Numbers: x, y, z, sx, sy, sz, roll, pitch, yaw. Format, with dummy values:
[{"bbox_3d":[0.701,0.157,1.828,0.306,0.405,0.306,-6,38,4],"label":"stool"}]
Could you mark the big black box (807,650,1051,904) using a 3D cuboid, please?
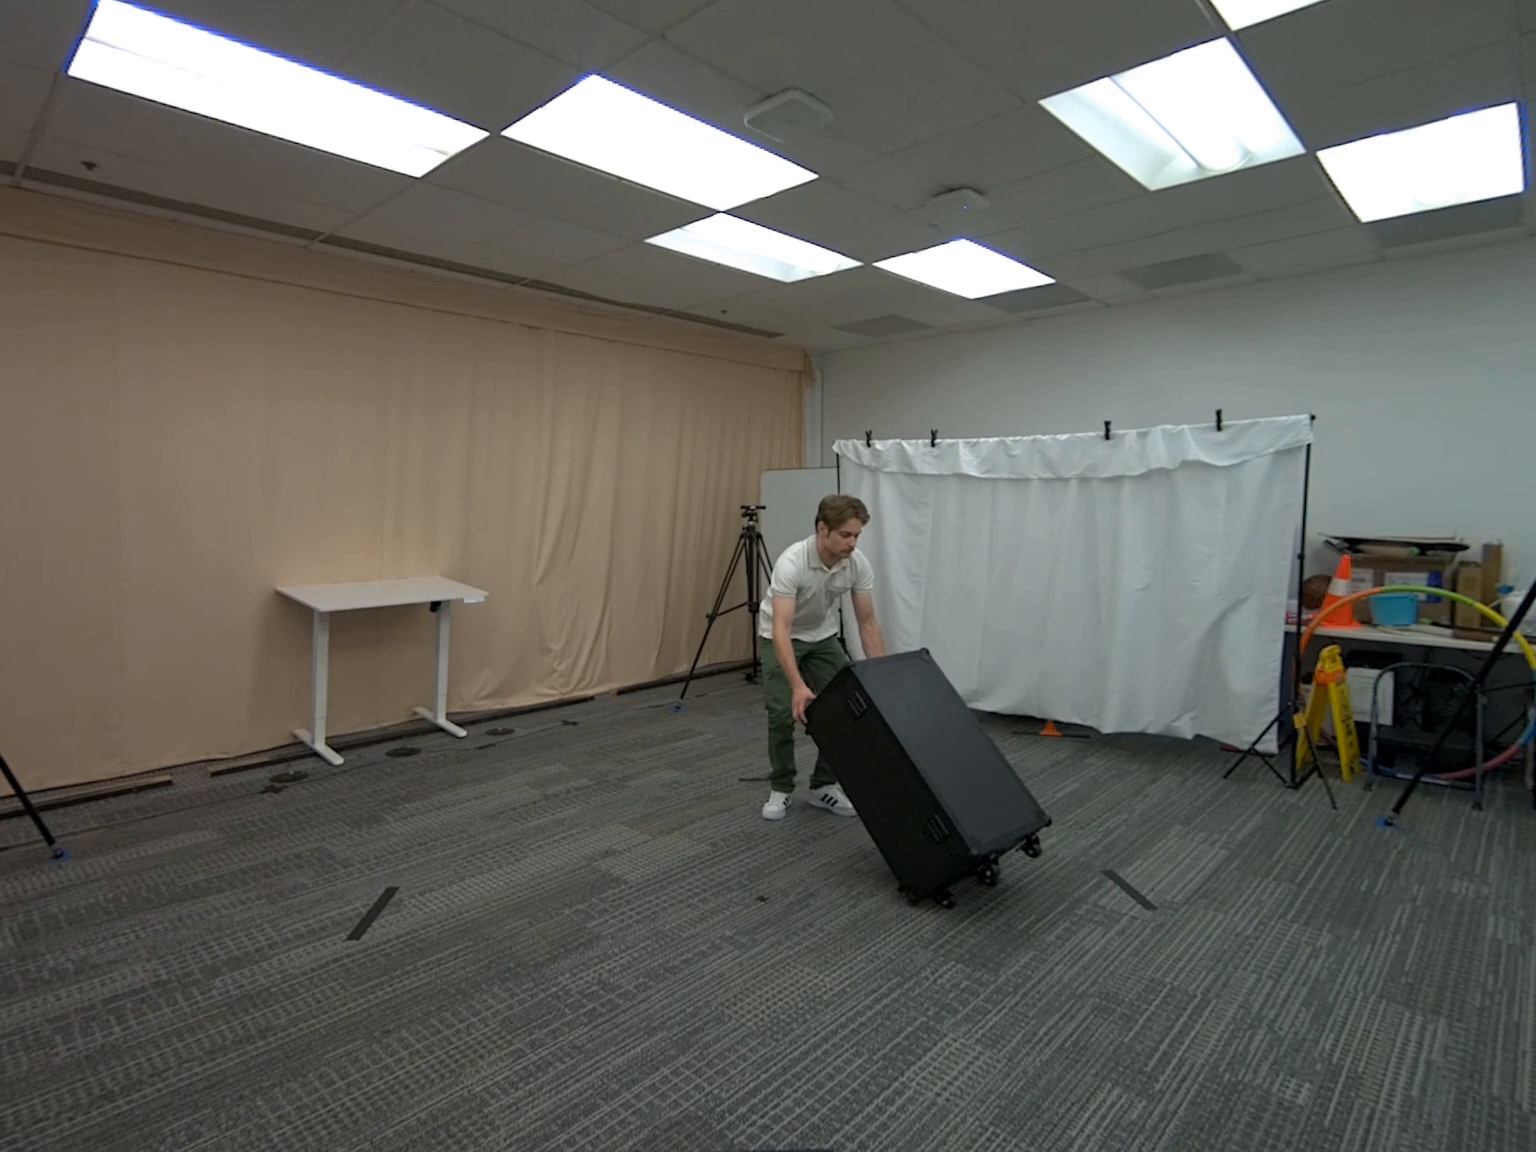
[{"bbox_3d":[0.582,0.746,3.138,0.505,0.886,0.397,-3,-41,-41],"label":"big black box"}]
